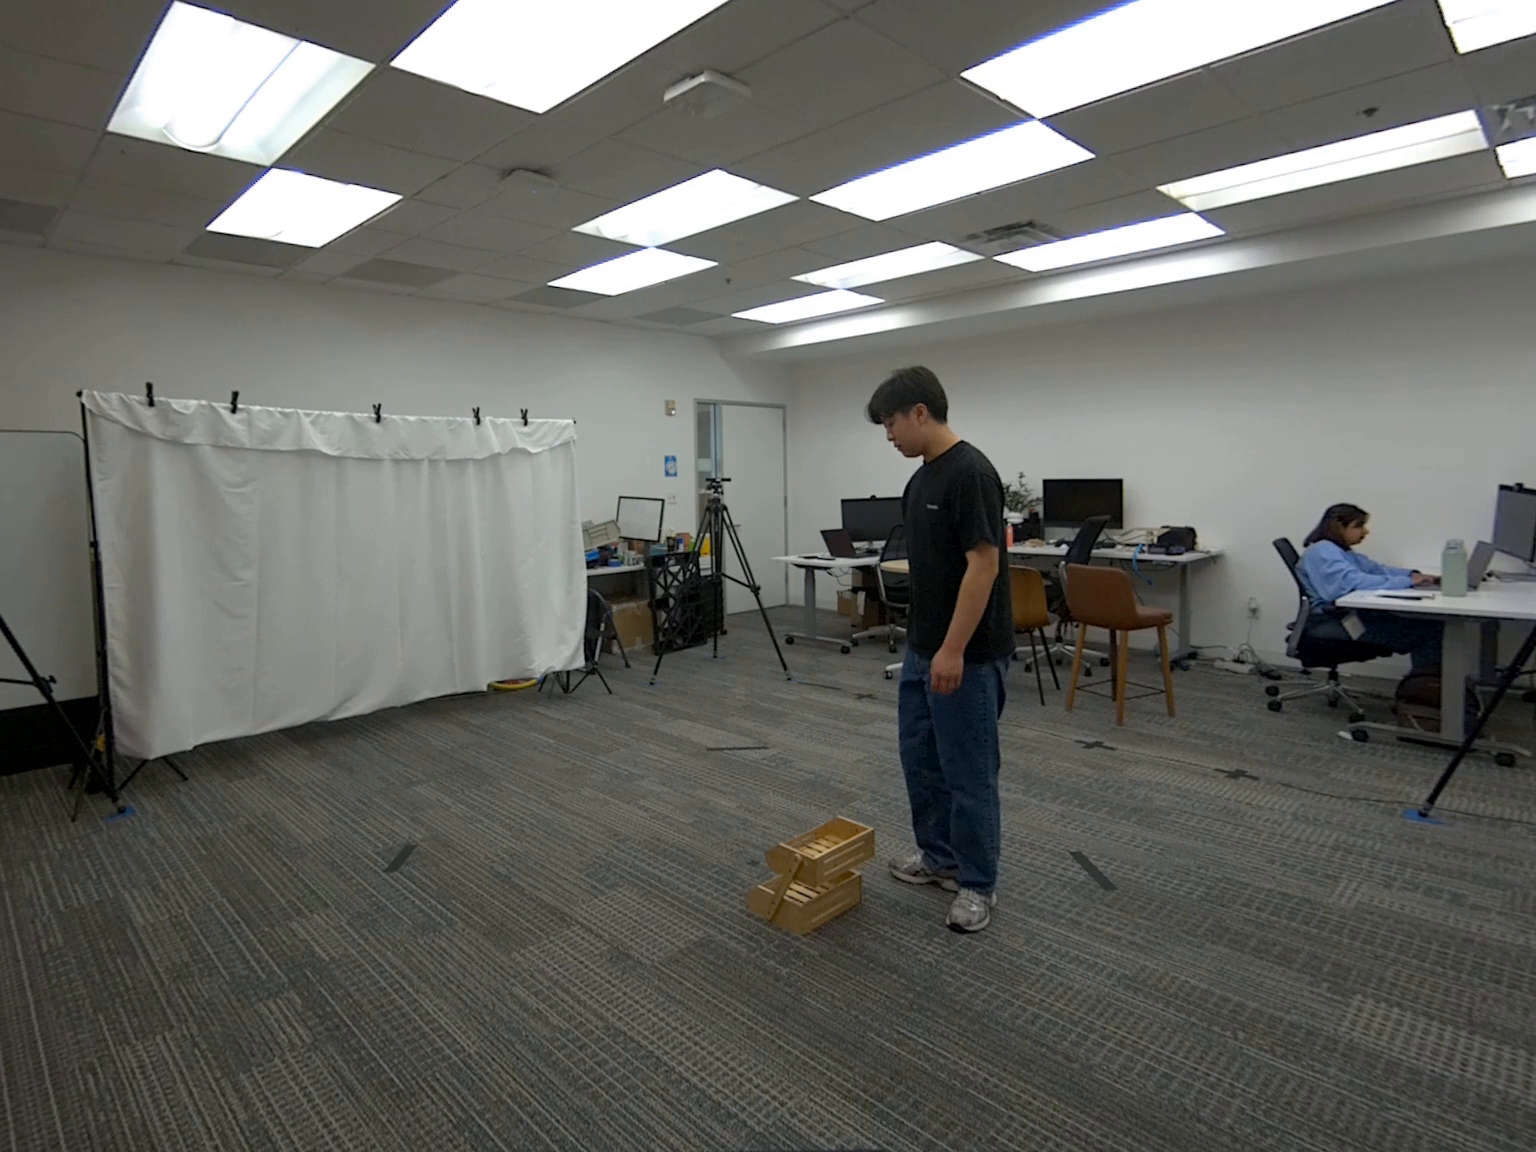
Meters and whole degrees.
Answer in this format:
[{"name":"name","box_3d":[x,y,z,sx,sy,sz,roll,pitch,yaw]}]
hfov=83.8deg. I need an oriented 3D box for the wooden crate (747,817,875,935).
[{"name":"wooden crate","box_3d":[0.141,0.948,2.768,0.311,0.272,0.316,5,8,45]}]
